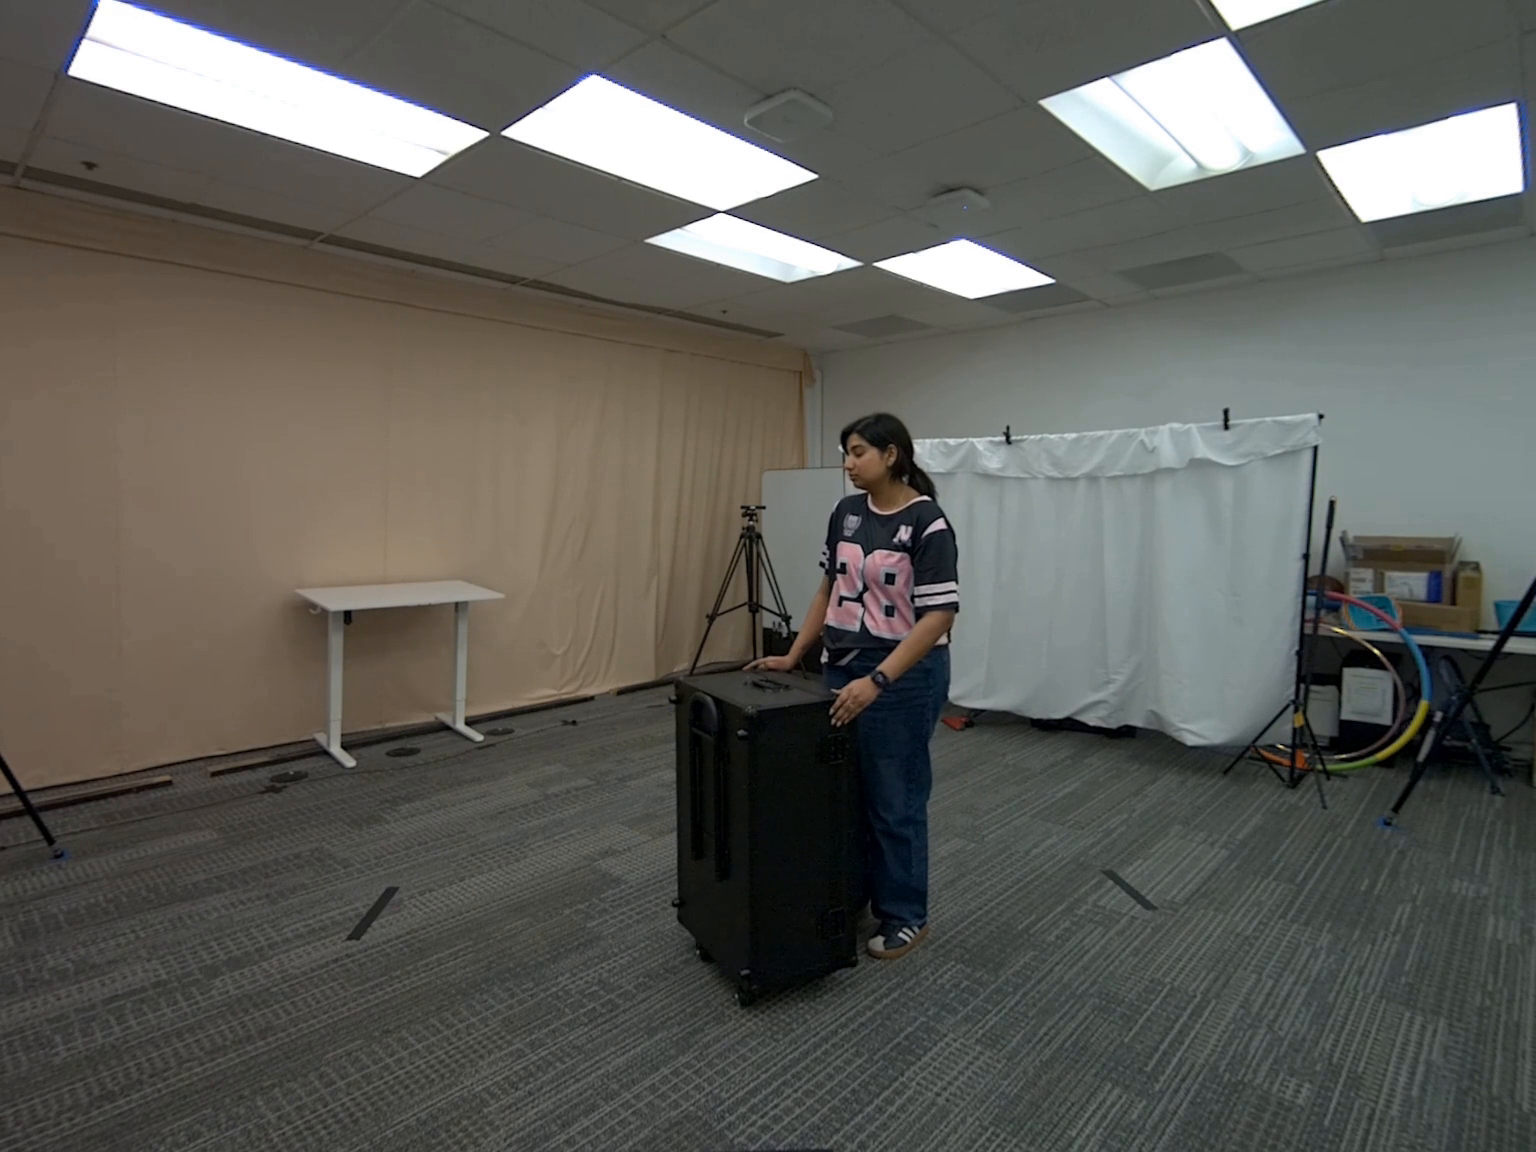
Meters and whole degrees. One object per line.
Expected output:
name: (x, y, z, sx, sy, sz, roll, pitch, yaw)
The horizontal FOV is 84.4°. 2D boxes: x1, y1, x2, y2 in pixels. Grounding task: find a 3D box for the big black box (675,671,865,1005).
big black box: (-0.019, 0.760, 2.522, 0.375, 0.867, 0.538, -2, 3, -28)
